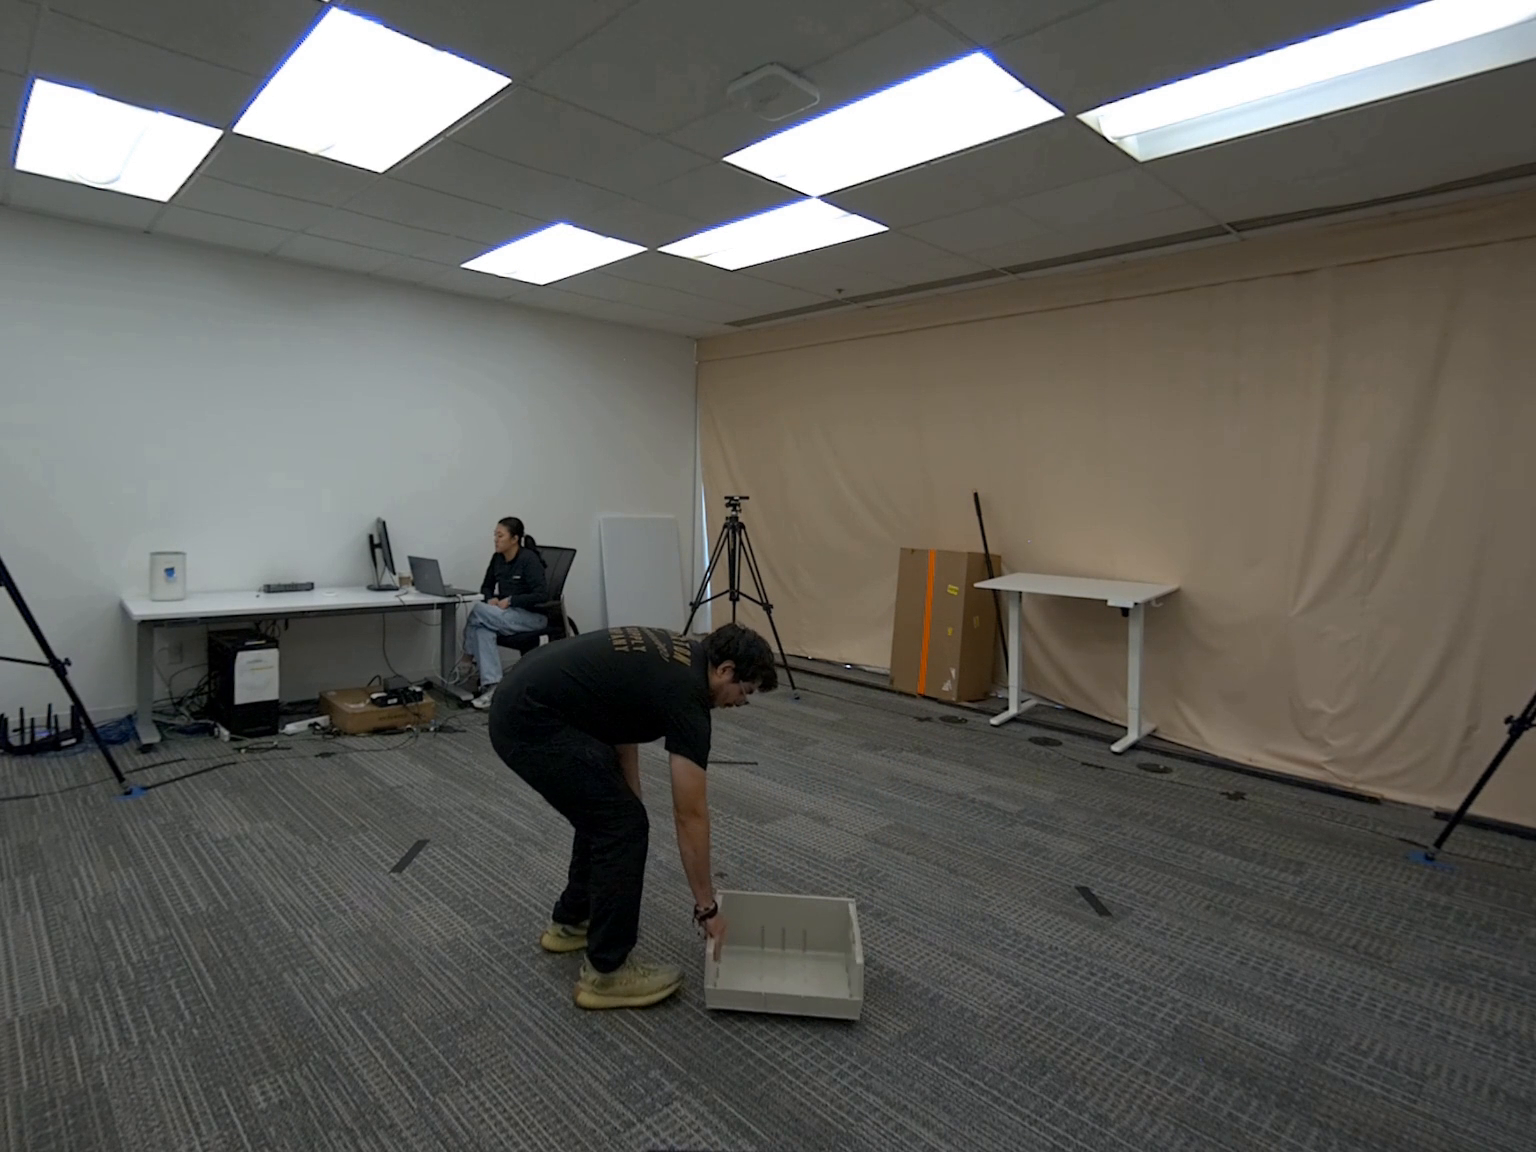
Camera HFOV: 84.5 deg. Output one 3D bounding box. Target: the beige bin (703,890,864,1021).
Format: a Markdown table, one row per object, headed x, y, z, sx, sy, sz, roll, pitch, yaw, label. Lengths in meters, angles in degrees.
| x | y | z | sx | sy | sz | roll | pitch | yaw | label |
| --- | --- | --- | --- | --- | --- | --- | --- | --- | --- |
| 0.040 | 1.090 | 2.391 | 0.423 | 0.188 | 0.377 | 1 | 3 | 3 | beige bin |
